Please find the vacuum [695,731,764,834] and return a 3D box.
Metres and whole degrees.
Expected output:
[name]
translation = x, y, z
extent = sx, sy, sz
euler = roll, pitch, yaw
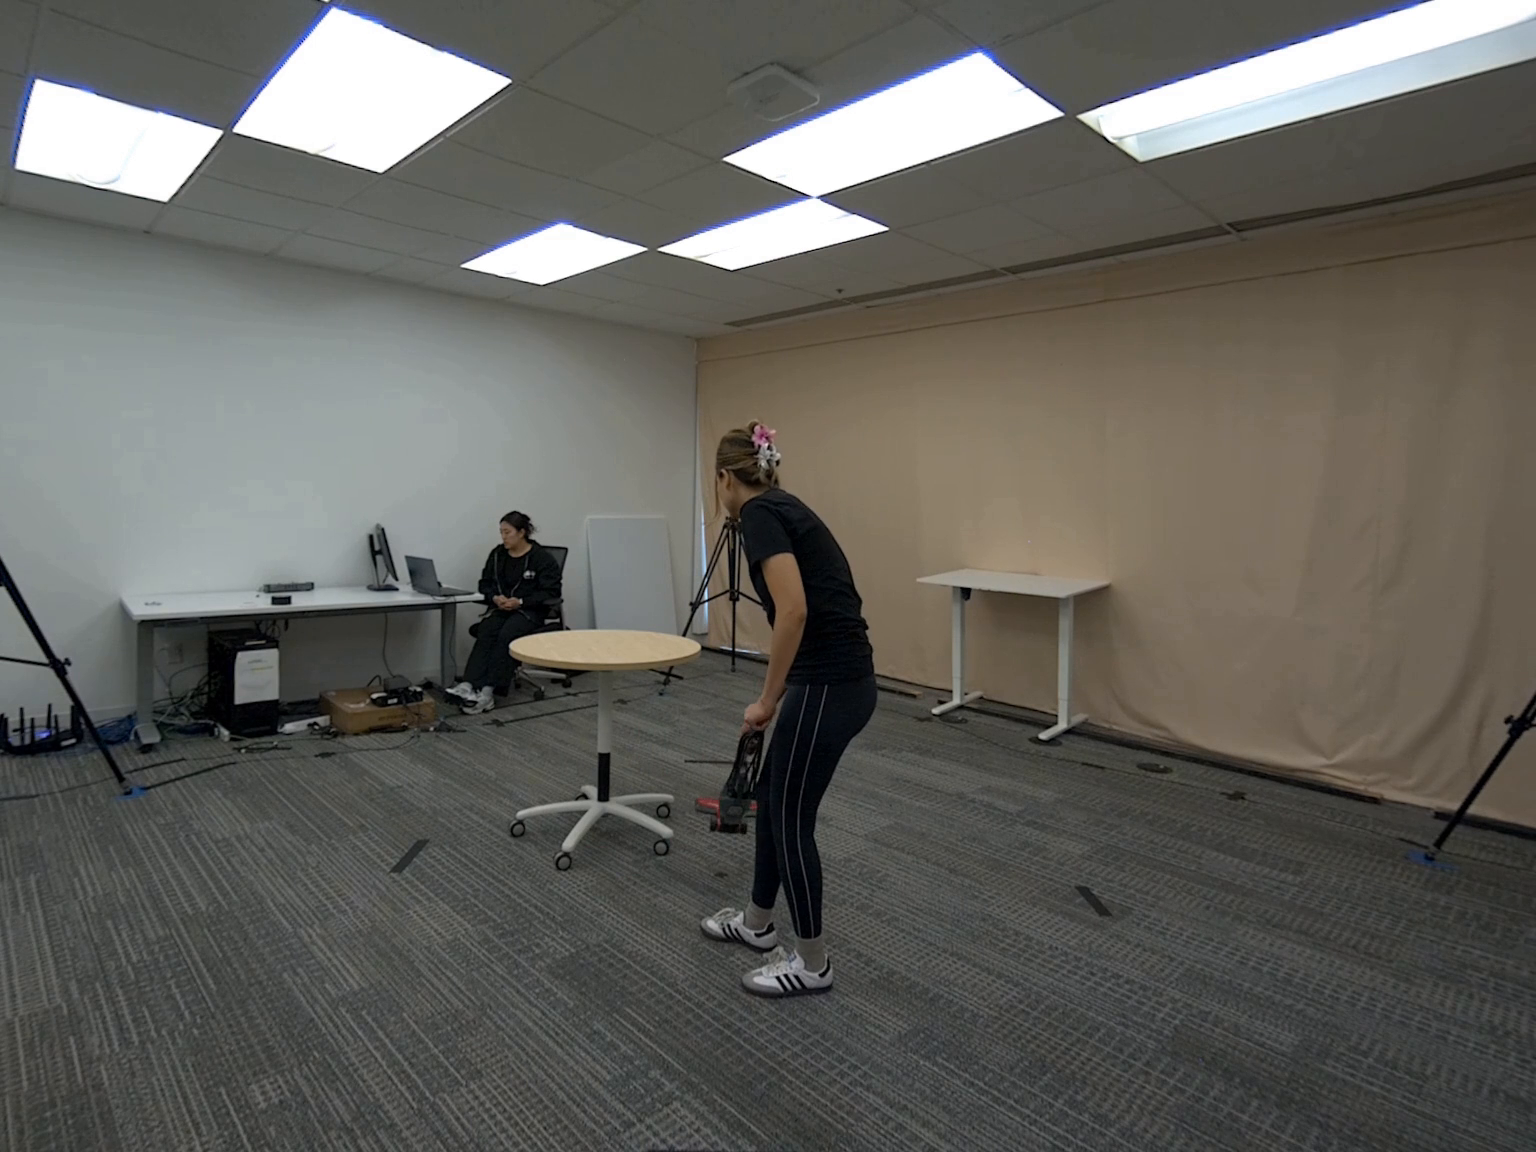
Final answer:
[vacuum]
translation = -0.094, 0.626, 2.647
extent = 0.251, 0.147, 1.033
euler = 6, -32, -5
